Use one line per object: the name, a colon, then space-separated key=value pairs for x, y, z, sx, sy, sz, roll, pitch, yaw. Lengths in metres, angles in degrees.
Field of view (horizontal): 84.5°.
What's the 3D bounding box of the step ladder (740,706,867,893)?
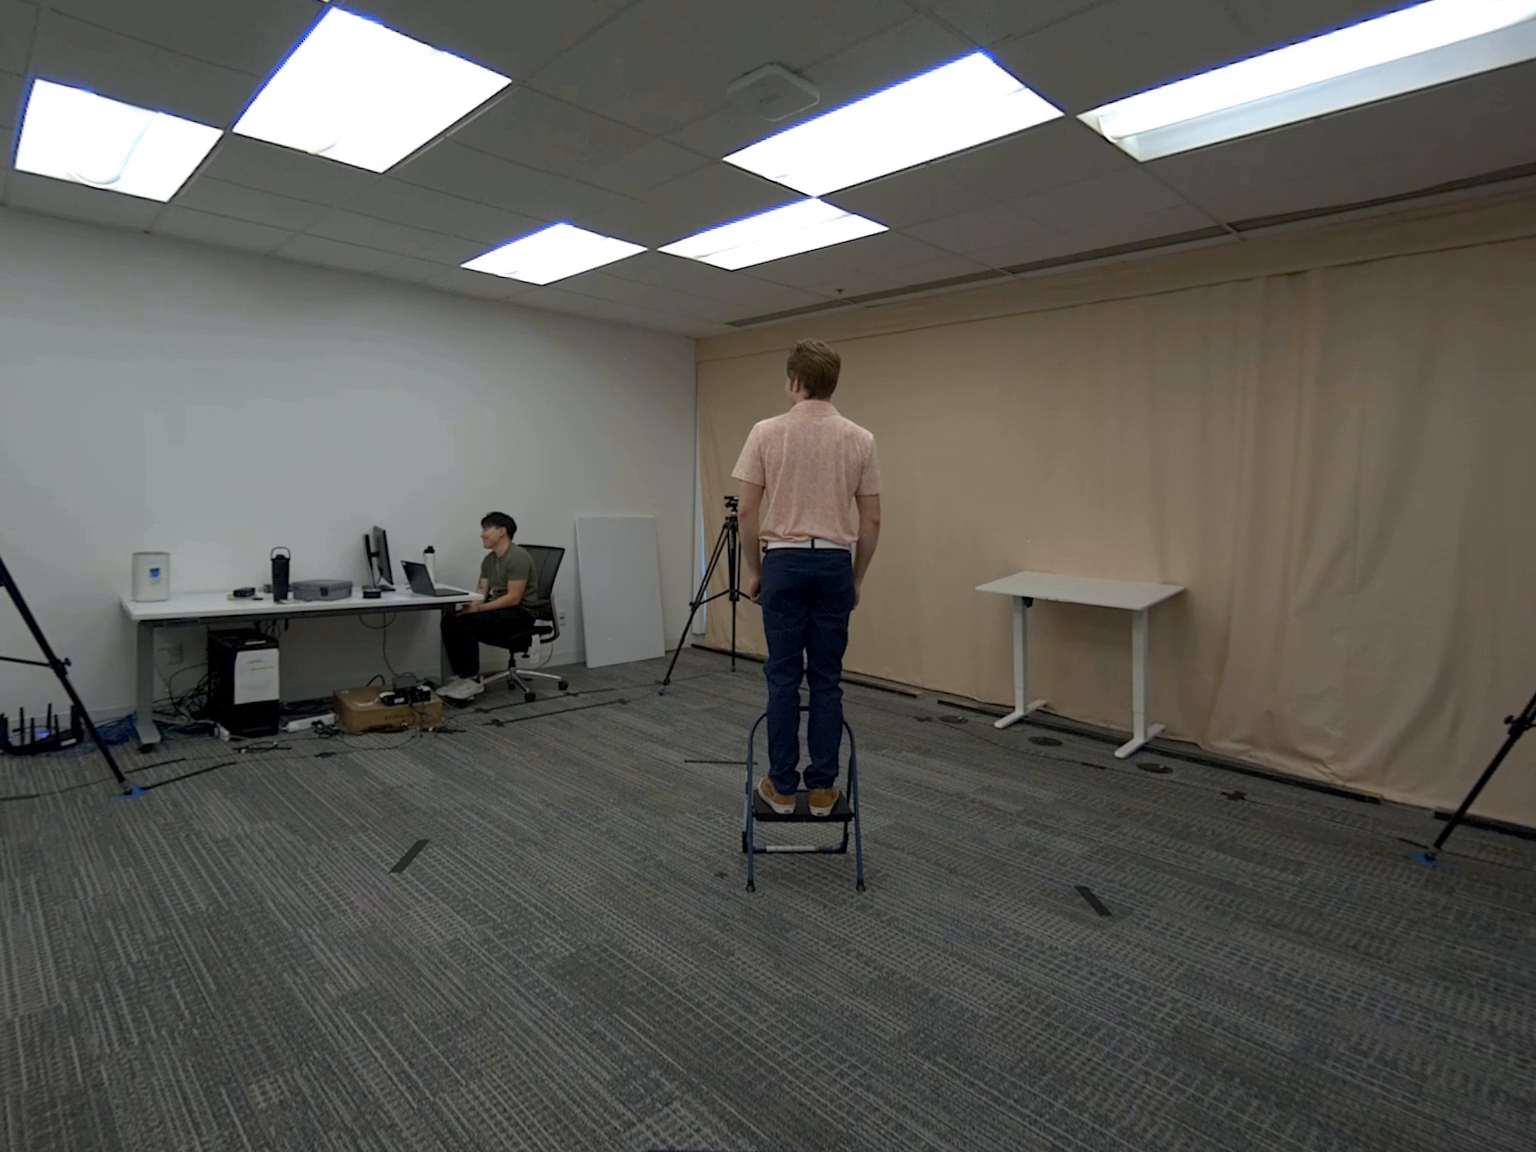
step ladder: x=0.121 y=0.807 z=3.149 sx=0.429 sy=0.604 sz=0.351 roll=1 pitch=4 yaw=-5
